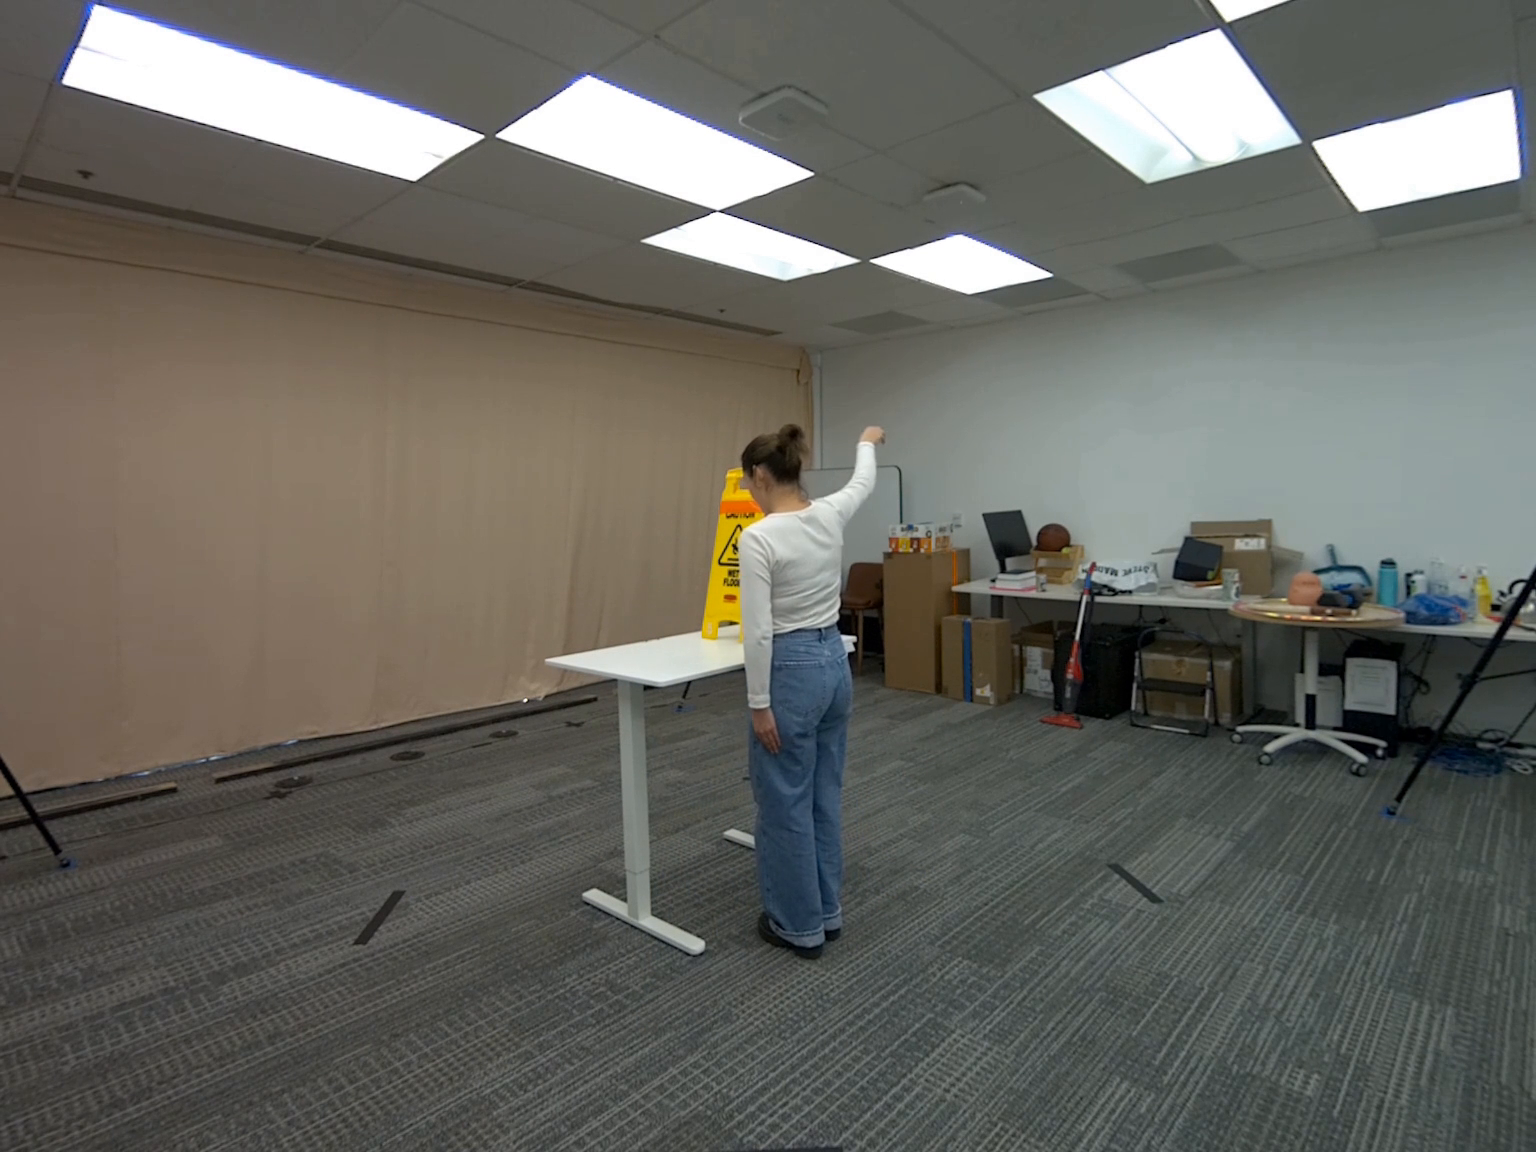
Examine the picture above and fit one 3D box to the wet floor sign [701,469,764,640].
[{"bbox_3d":[-0.066,-0.087,3.240,0.291,0.645,0.281,1,3,42],"label":"wet floor sign"}]
